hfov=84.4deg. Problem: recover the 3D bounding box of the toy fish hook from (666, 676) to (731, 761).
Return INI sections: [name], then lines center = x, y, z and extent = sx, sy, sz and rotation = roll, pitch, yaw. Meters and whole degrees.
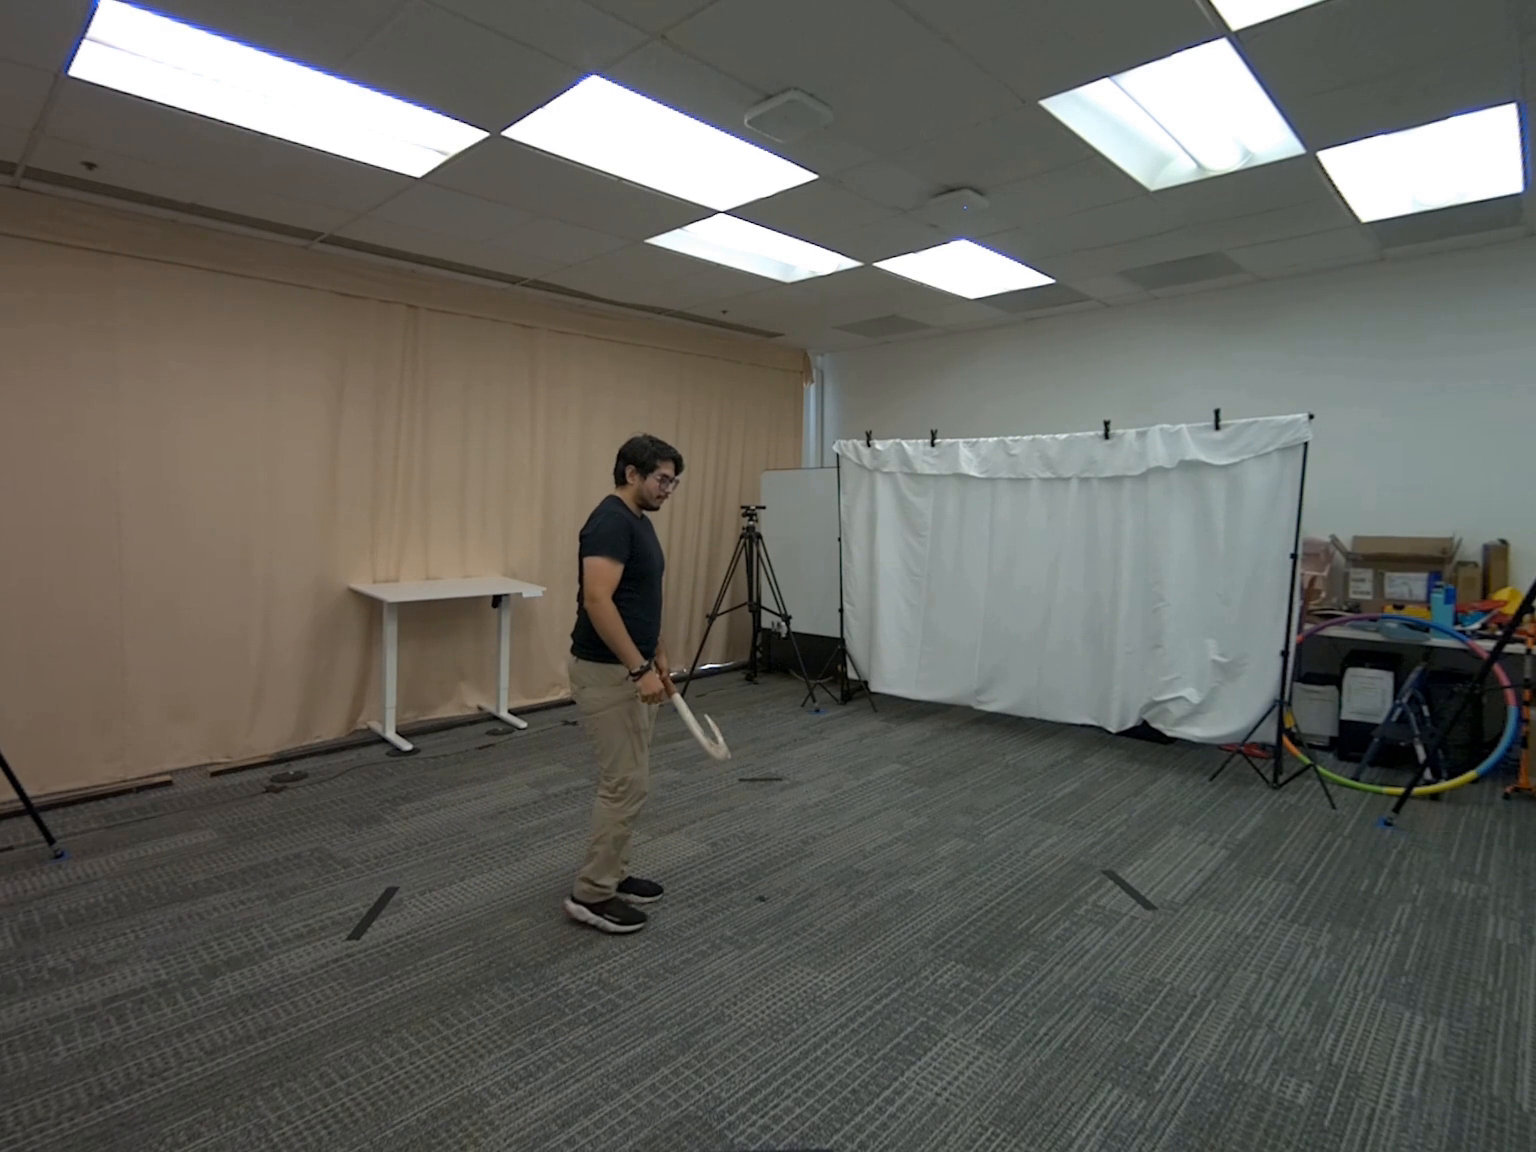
[toy fish hook]
center = -0.312, 0.499, 3.240
extent = 0.048, 0.516, 0.220
rotation = -40, -15, 5
